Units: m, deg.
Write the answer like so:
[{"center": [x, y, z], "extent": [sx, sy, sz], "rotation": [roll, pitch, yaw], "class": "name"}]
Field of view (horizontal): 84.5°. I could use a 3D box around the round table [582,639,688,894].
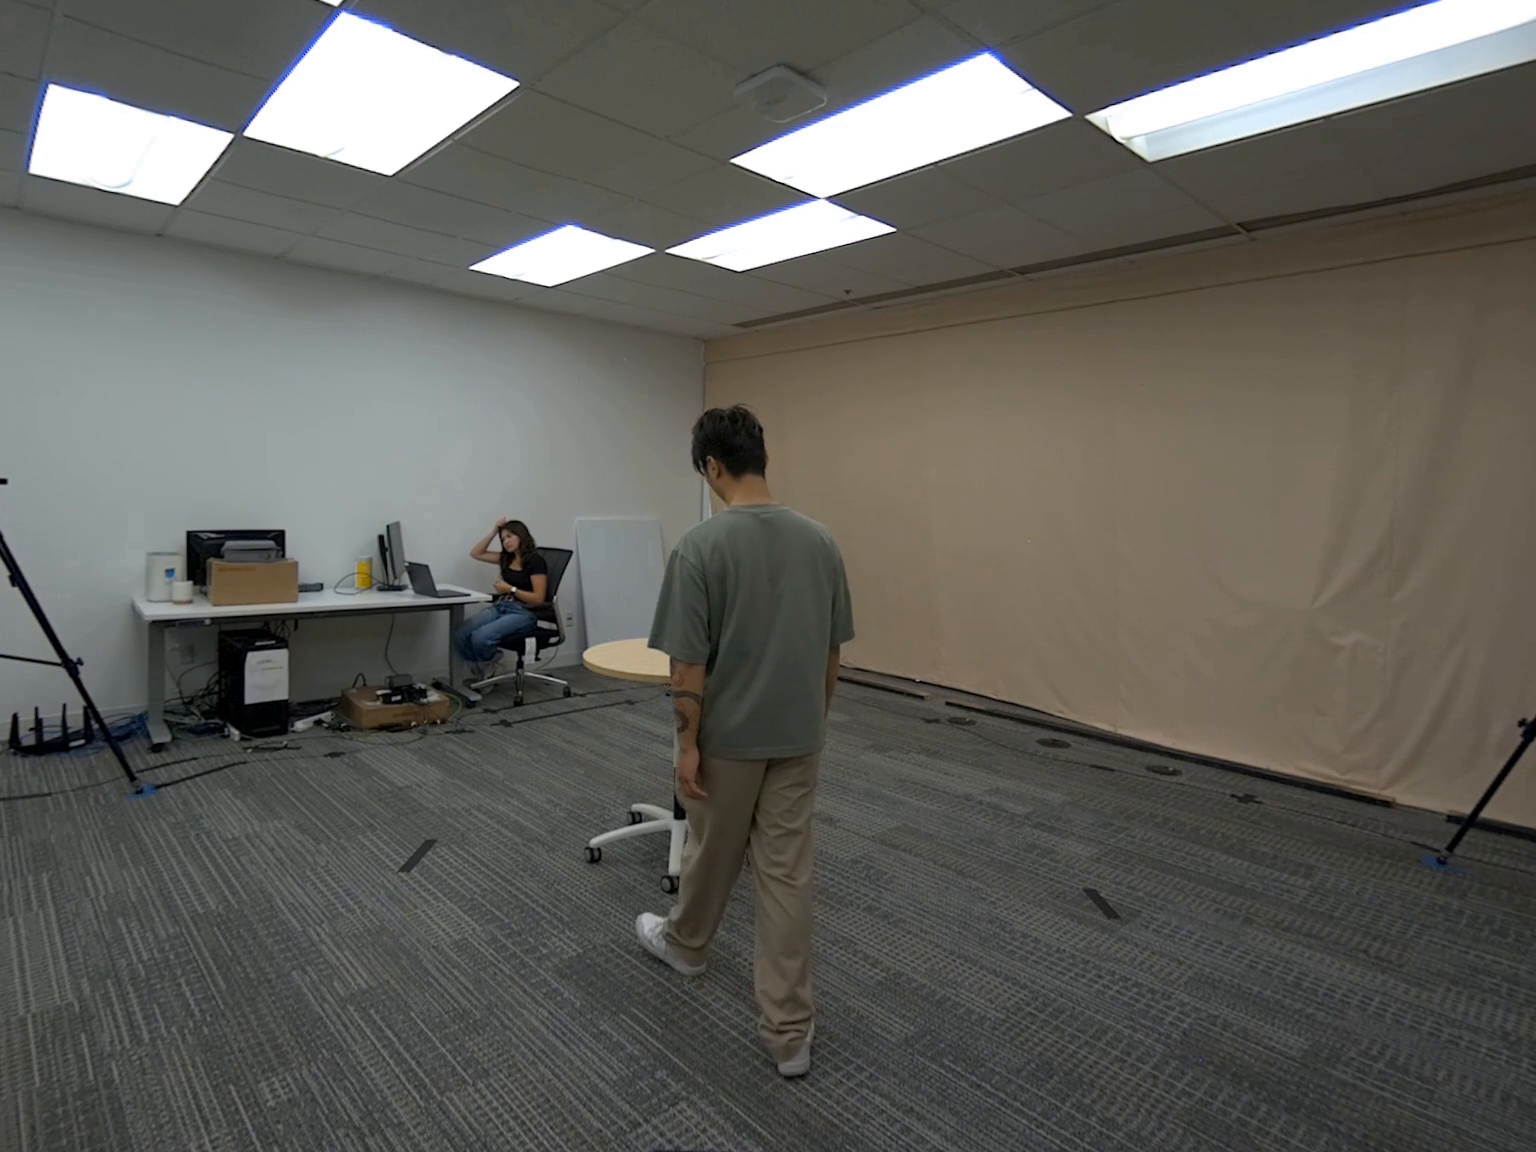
[{"center": [-0.335, 0.697, 3.268], "extent": [0.784, 0.784, 0.788], "rotation": [2, 5, -2], "class": "round table"}]
